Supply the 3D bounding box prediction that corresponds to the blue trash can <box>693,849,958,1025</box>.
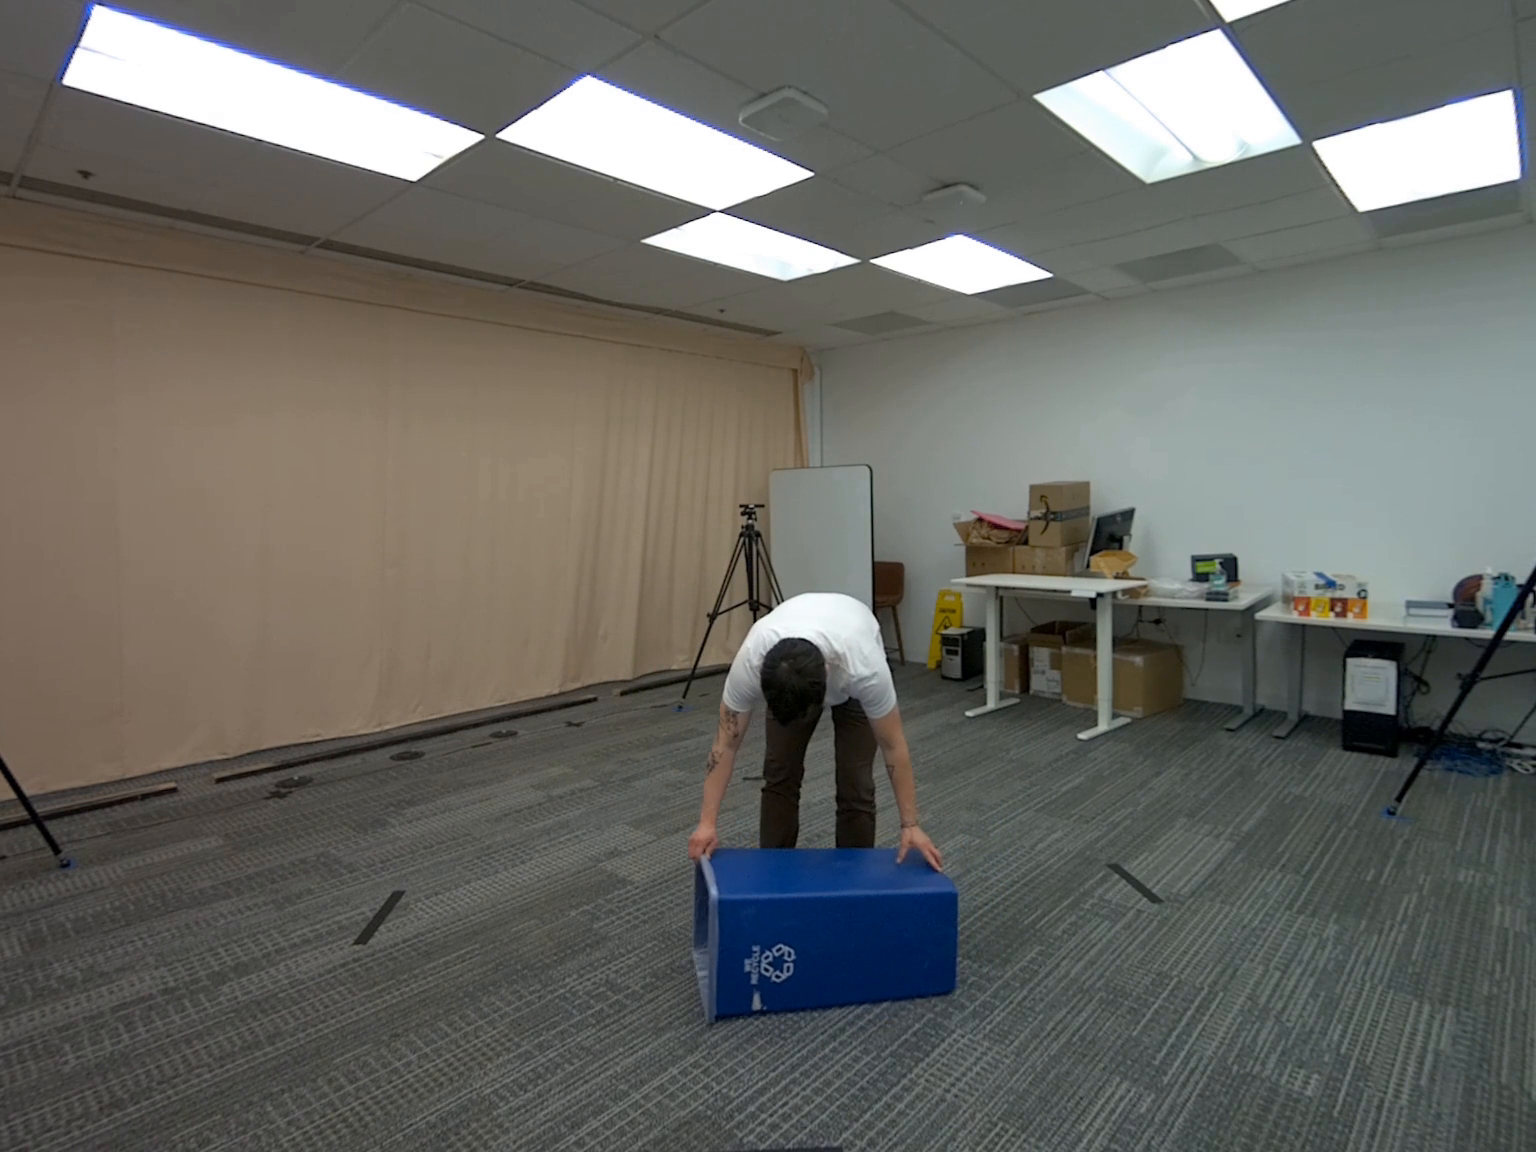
[{"bbox_3d":[0.158,1.012,2.458,0.707,0.377,0.378,0,2,-9],"label":"blue trash can"}]
